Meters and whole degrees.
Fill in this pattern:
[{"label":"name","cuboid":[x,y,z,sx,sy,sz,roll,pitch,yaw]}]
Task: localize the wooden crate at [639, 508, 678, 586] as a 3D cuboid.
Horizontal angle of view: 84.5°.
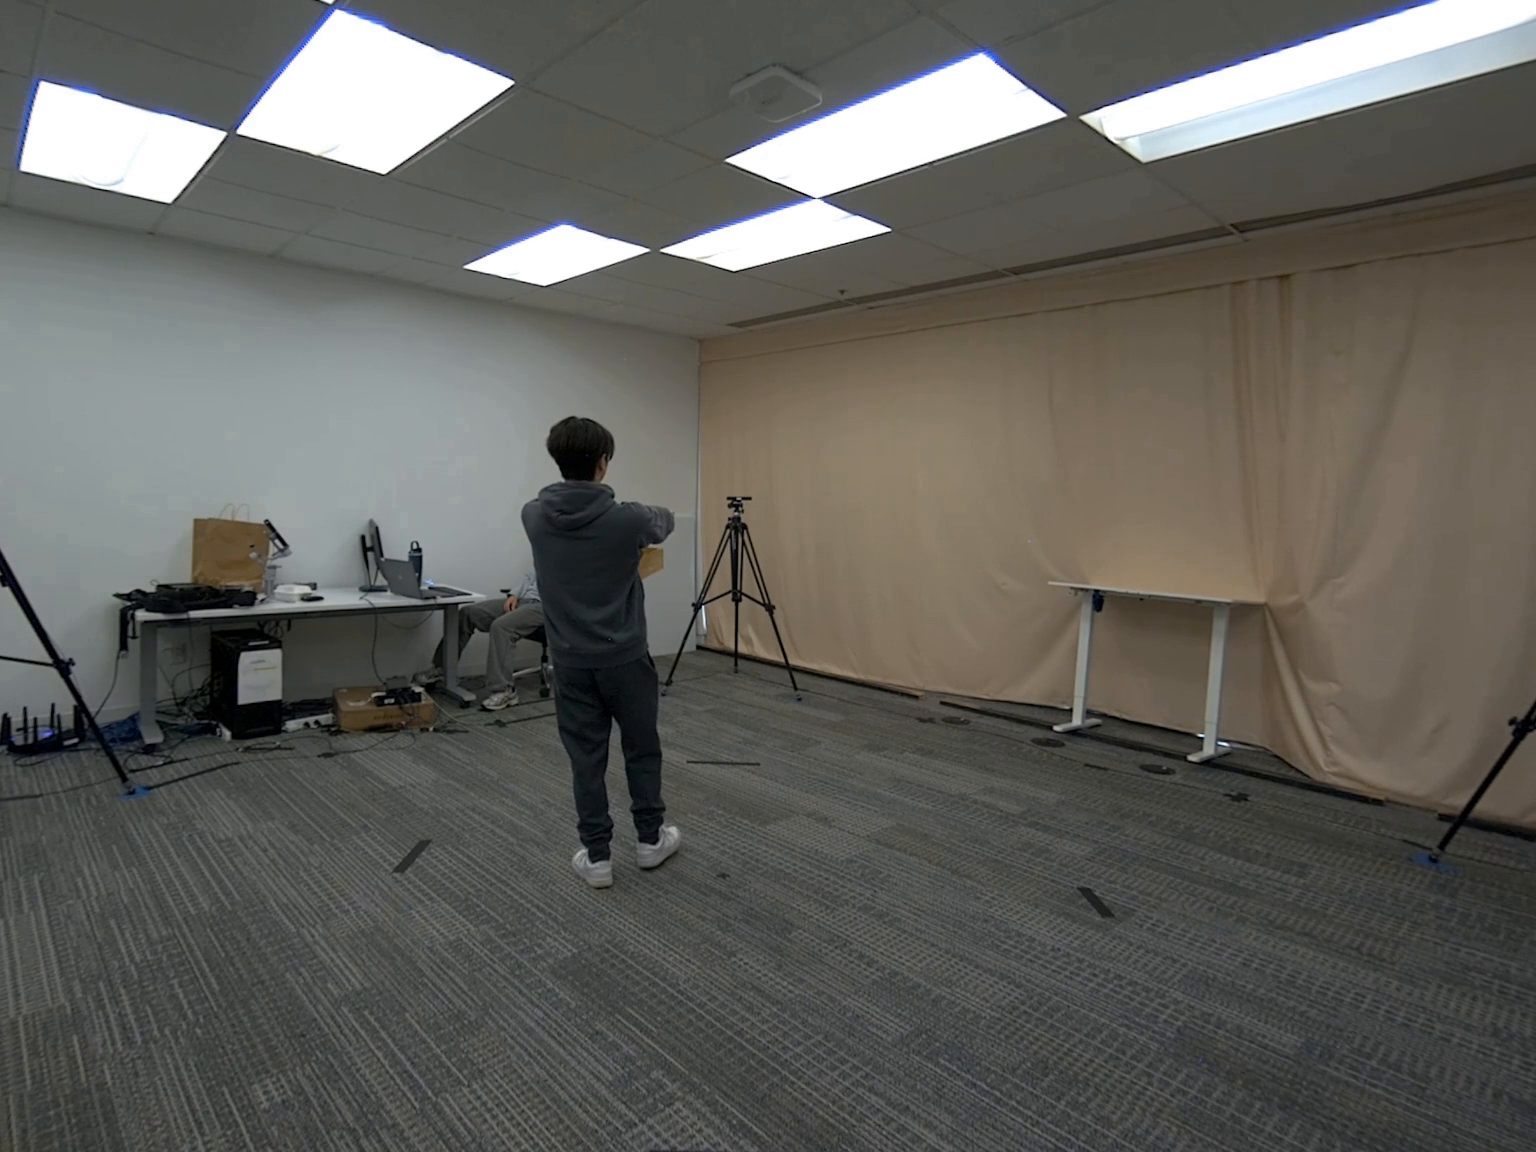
[{"label":"wooden crate","cuboid":[-0.581,-0.138,3.572,0.305,0.271,0.323,4,11,12]}]
